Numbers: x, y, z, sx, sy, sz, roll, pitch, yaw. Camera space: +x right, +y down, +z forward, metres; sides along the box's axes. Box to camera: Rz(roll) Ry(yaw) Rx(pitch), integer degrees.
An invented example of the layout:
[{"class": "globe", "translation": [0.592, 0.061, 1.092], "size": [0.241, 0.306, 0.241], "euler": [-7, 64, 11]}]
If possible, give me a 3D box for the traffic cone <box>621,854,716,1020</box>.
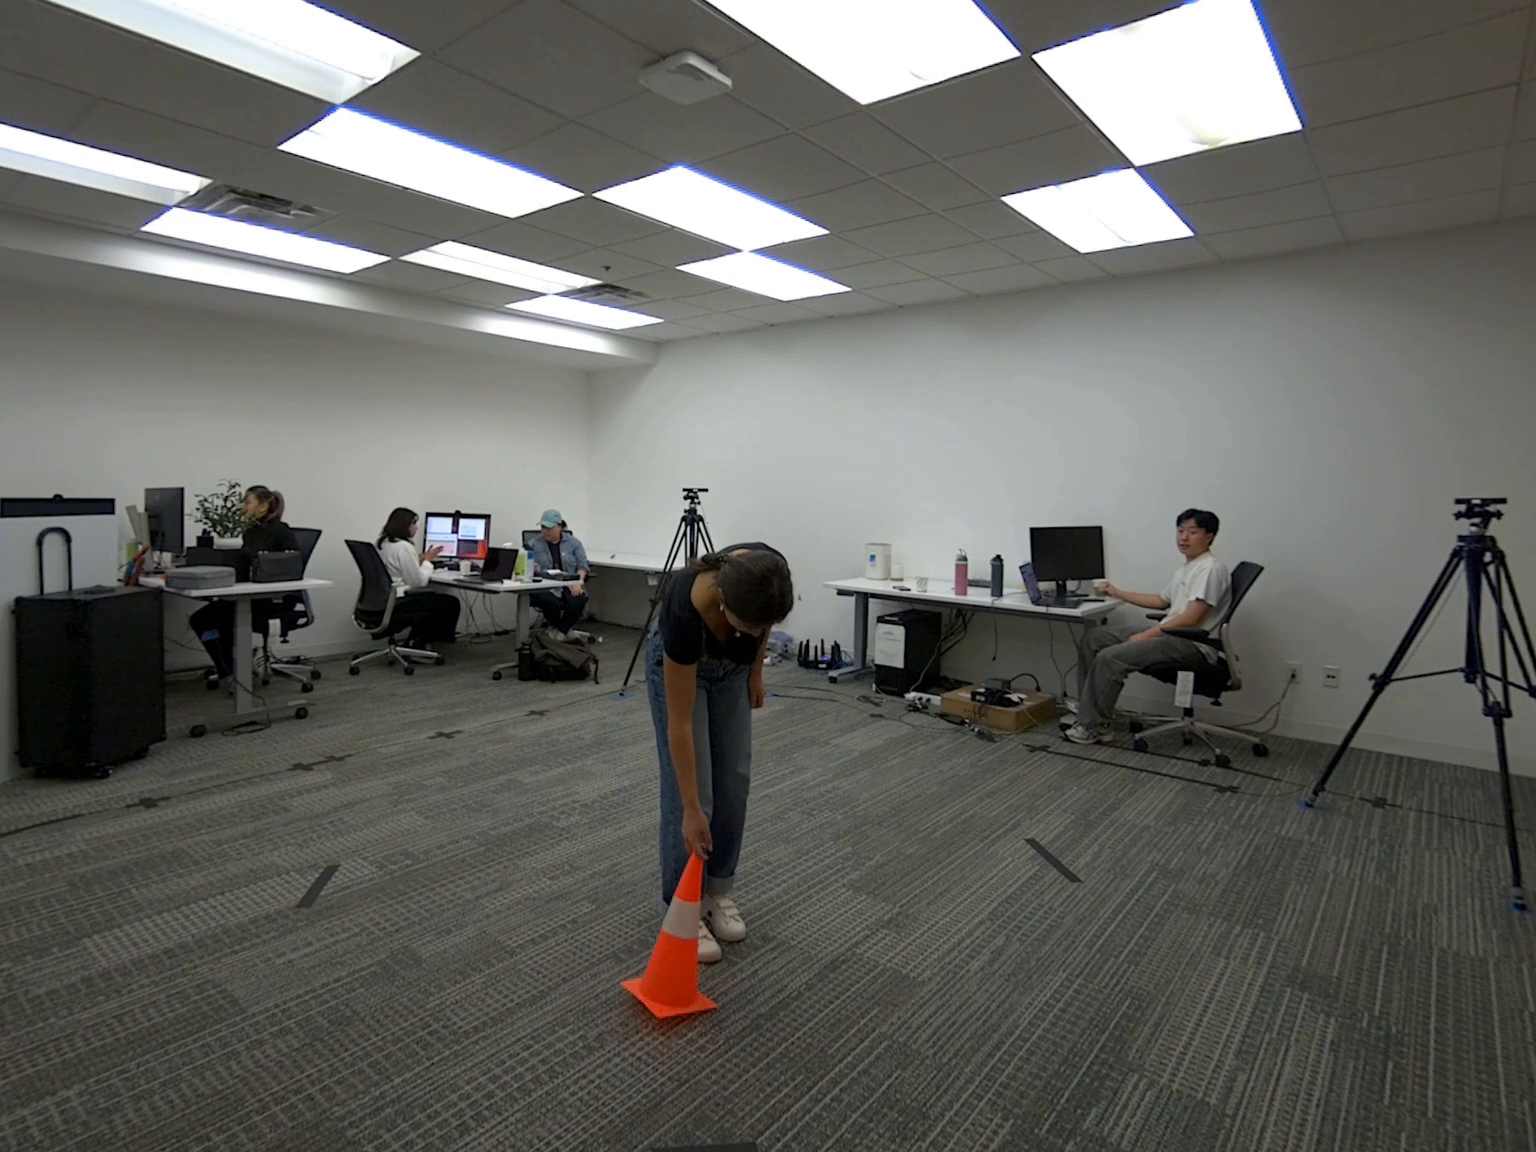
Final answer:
[{"class": "traffic cone", "translation": [-0.242, 0.944, 2.317], "size": [0.197, 0.385, 0.210], "euler": [16, -7, -41]}]
